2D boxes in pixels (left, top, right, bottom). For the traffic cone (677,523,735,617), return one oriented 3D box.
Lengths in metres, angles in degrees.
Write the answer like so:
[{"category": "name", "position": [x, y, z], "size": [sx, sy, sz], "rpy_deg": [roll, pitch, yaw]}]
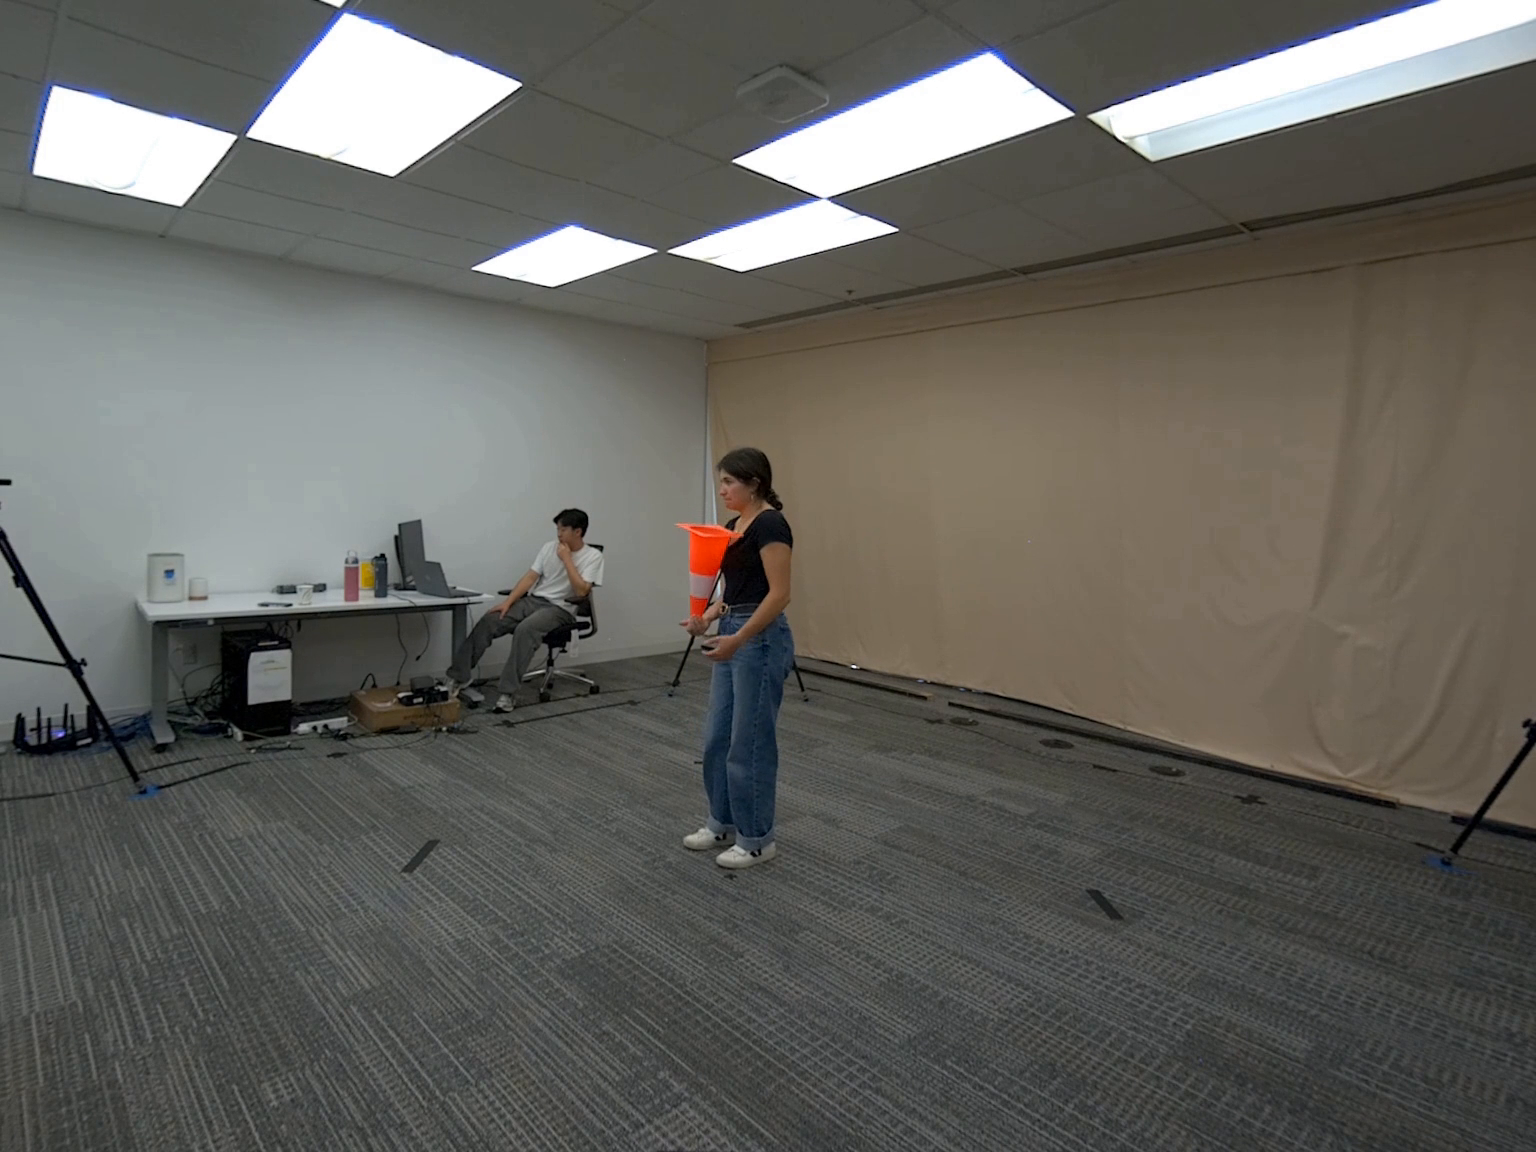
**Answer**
[{"category": "traffic cone", "position": [-0.252, 0.014, 3.189], "size": [0.200, 0.381, 0.209], "rpy_deg": [1, 15, -35]}]
